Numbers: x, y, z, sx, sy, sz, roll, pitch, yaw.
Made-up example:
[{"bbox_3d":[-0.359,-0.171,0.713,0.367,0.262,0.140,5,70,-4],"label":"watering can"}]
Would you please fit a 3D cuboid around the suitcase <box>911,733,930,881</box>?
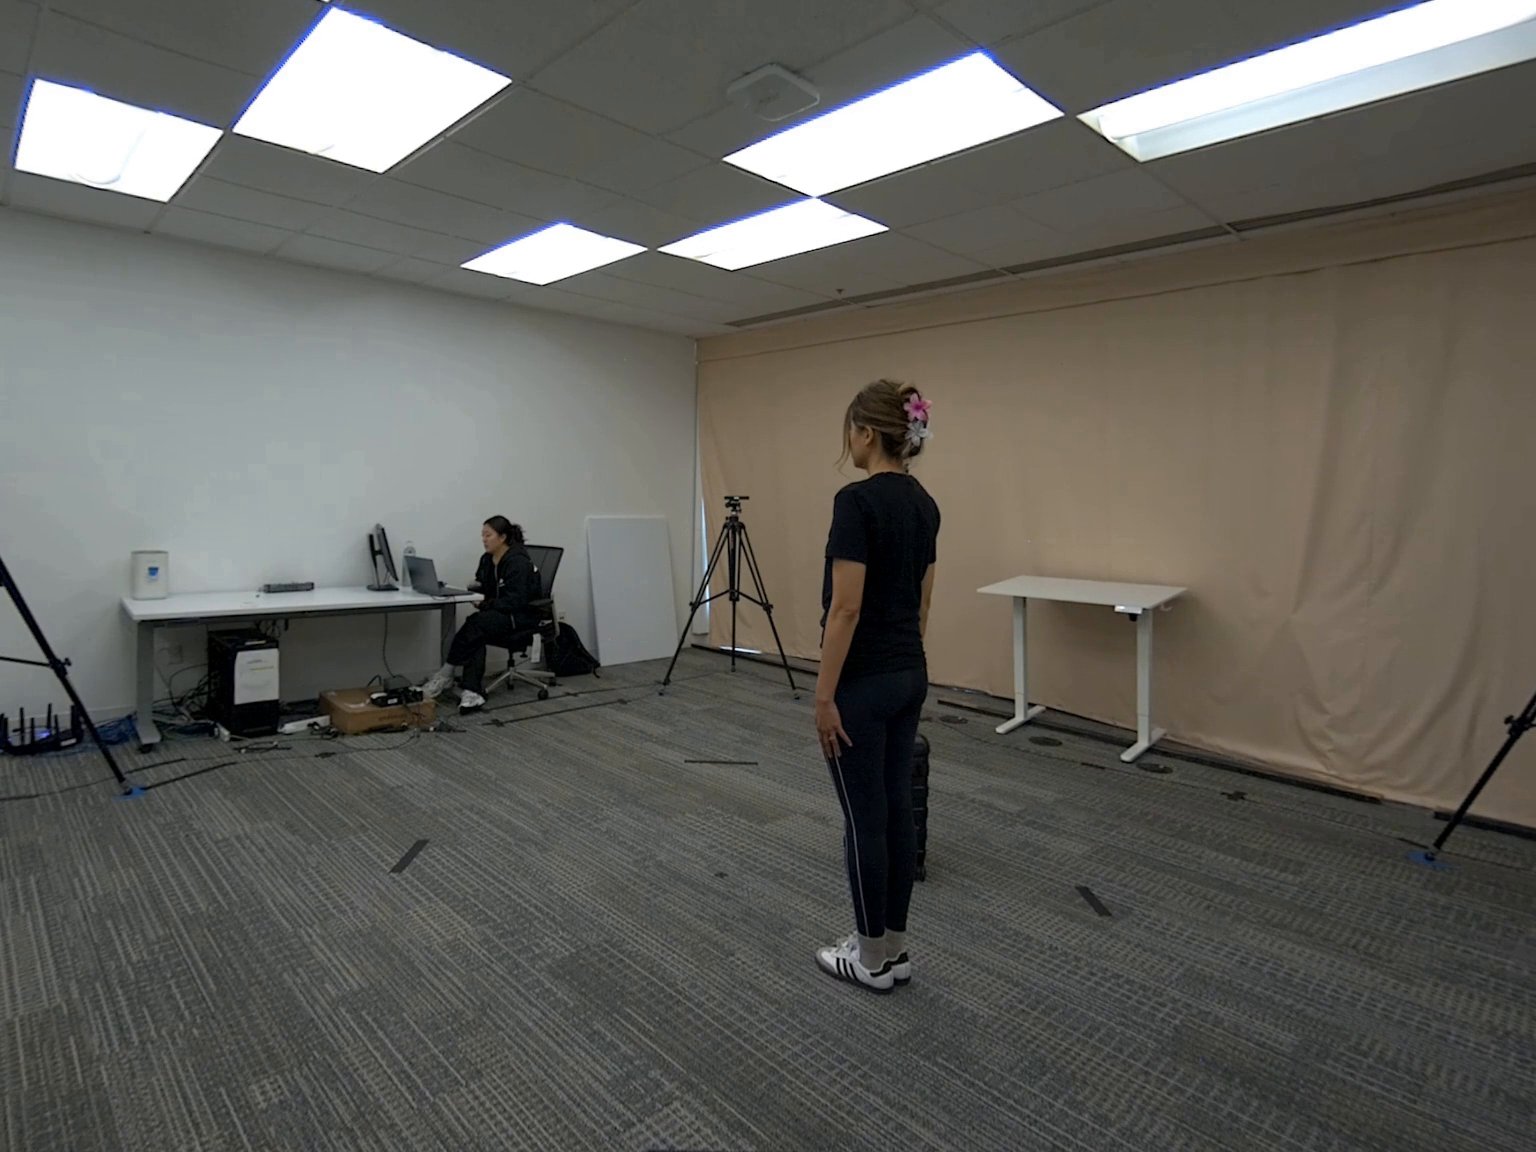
[{"bbox_3d":[0.457,0.633,3.242,0.256,0.977,0.386,3,2,-6],"label":"suitcase"}]
